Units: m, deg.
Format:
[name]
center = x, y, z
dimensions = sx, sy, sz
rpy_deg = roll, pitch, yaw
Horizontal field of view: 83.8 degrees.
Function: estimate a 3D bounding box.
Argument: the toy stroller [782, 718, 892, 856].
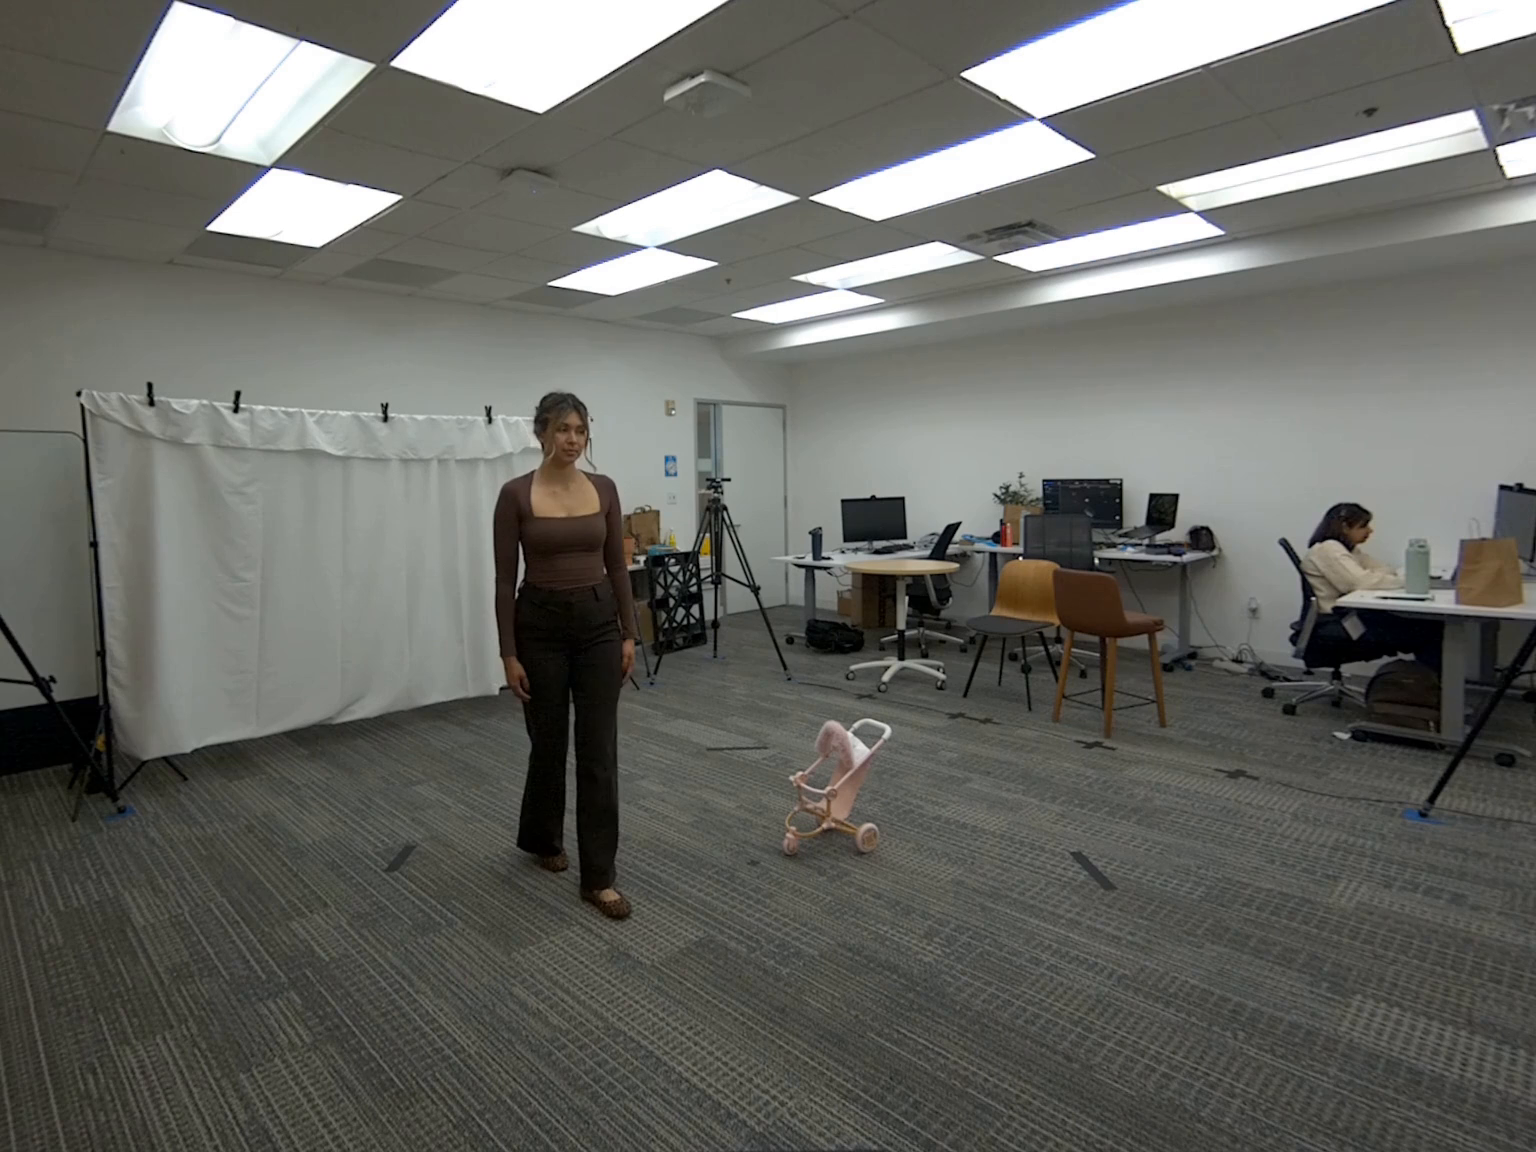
[toy stroller]
center = 0.247, 0.793, 3.244
dimensions = 0.332, 0.536, 0.288
rpy_deg = 14, -3, -26
